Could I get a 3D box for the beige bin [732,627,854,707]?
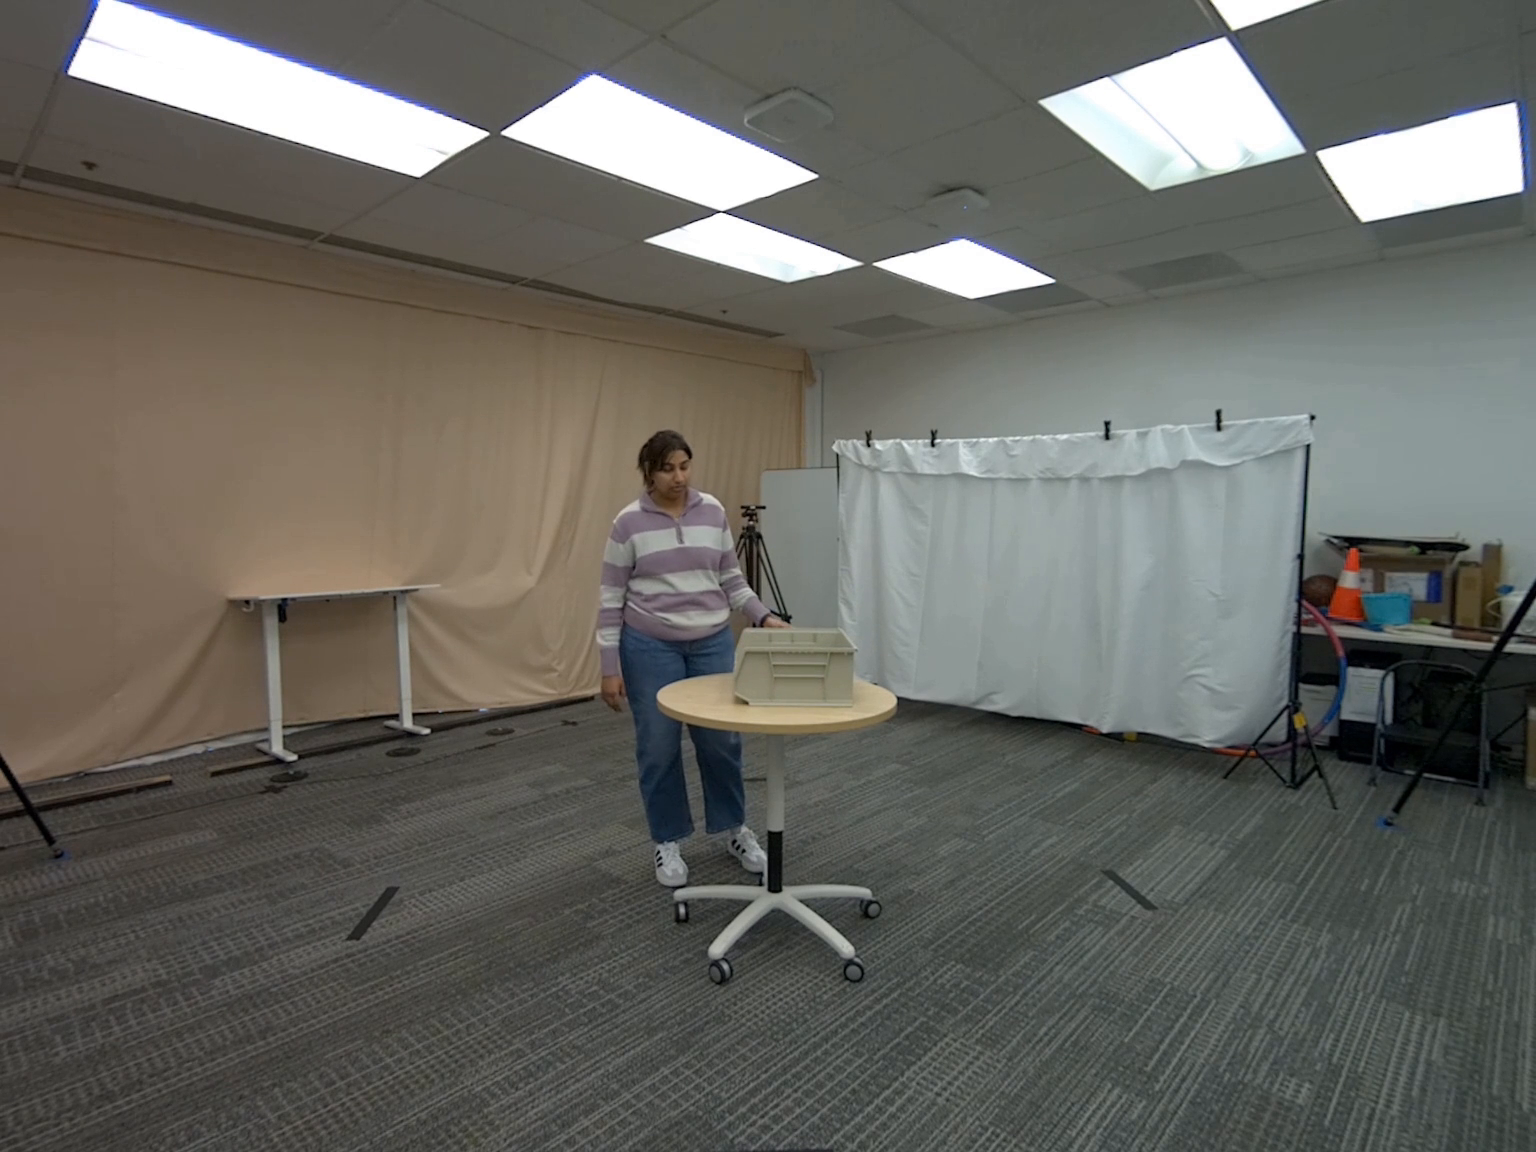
[{"bbox_3d":[0.075,0.293,2.742,0.378,0.189,0.422,1,3,0],"label":"beige bin"}]
